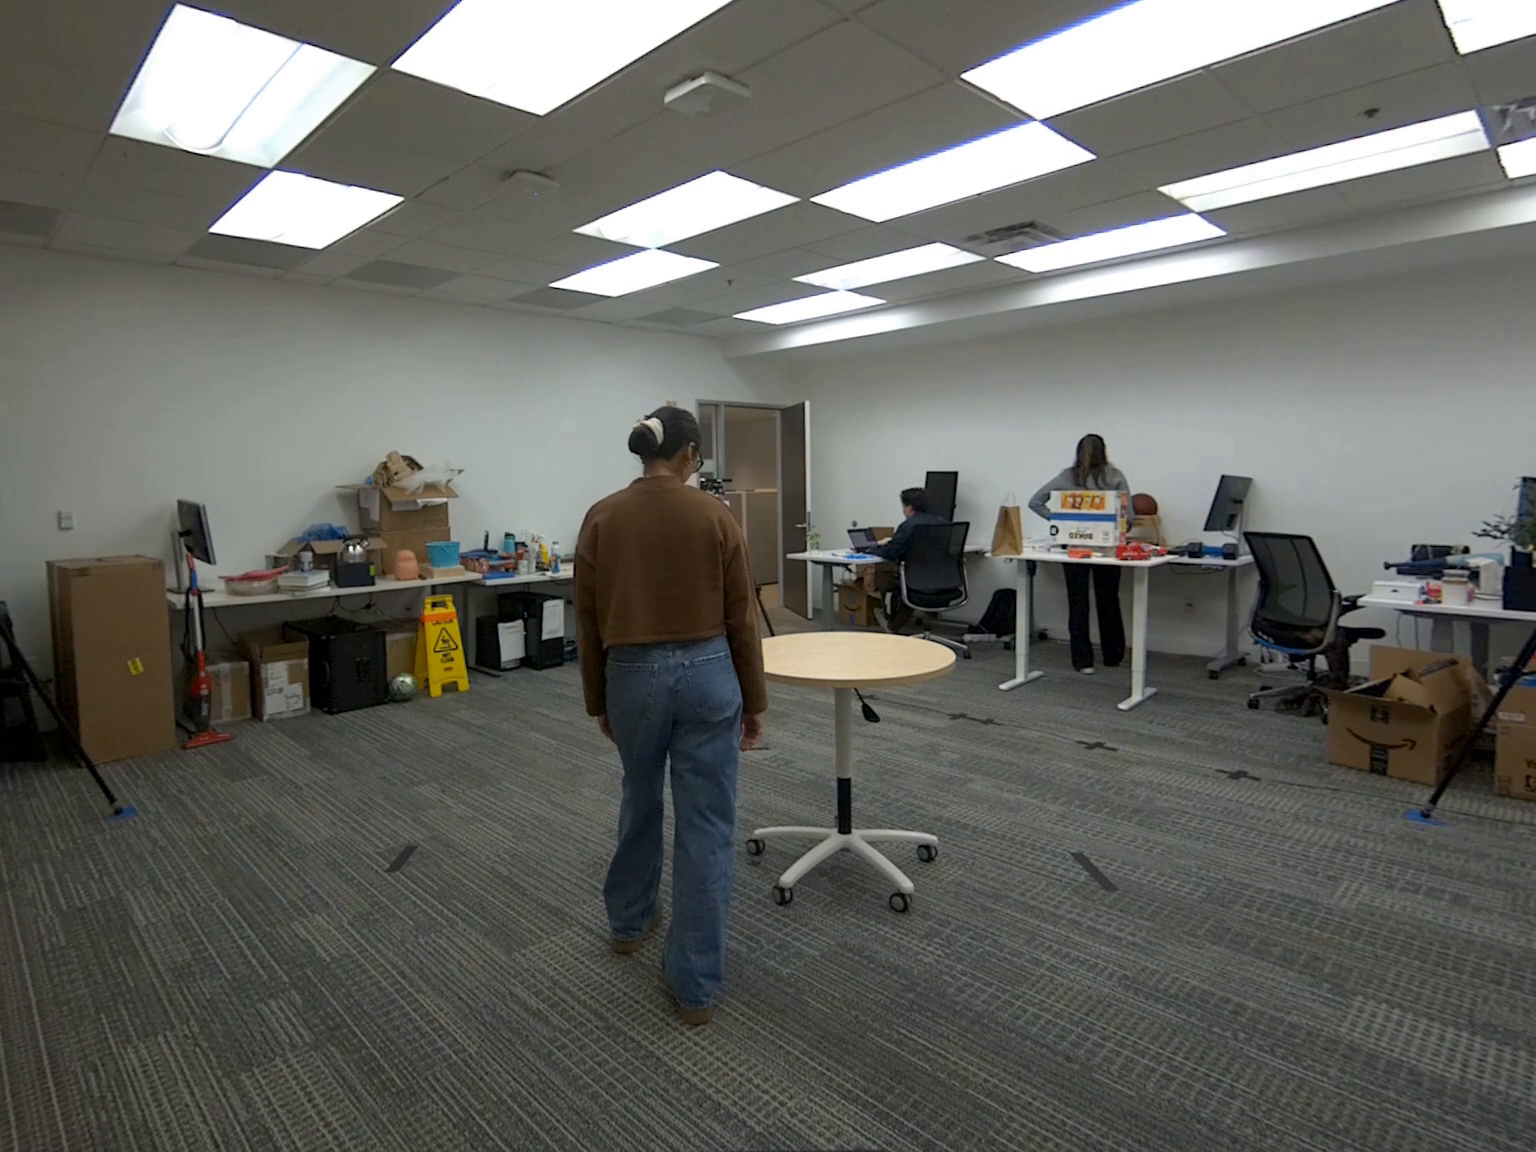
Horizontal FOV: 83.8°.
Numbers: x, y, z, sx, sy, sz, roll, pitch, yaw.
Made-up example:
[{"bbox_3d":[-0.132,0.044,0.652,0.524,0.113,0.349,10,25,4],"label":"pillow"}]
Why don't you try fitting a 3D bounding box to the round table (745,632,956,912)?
[{"bbox_3d":[0.265,0.661,3.011,0.763,0.791,0.768,-1,5,-2],"label":"round table"}]
